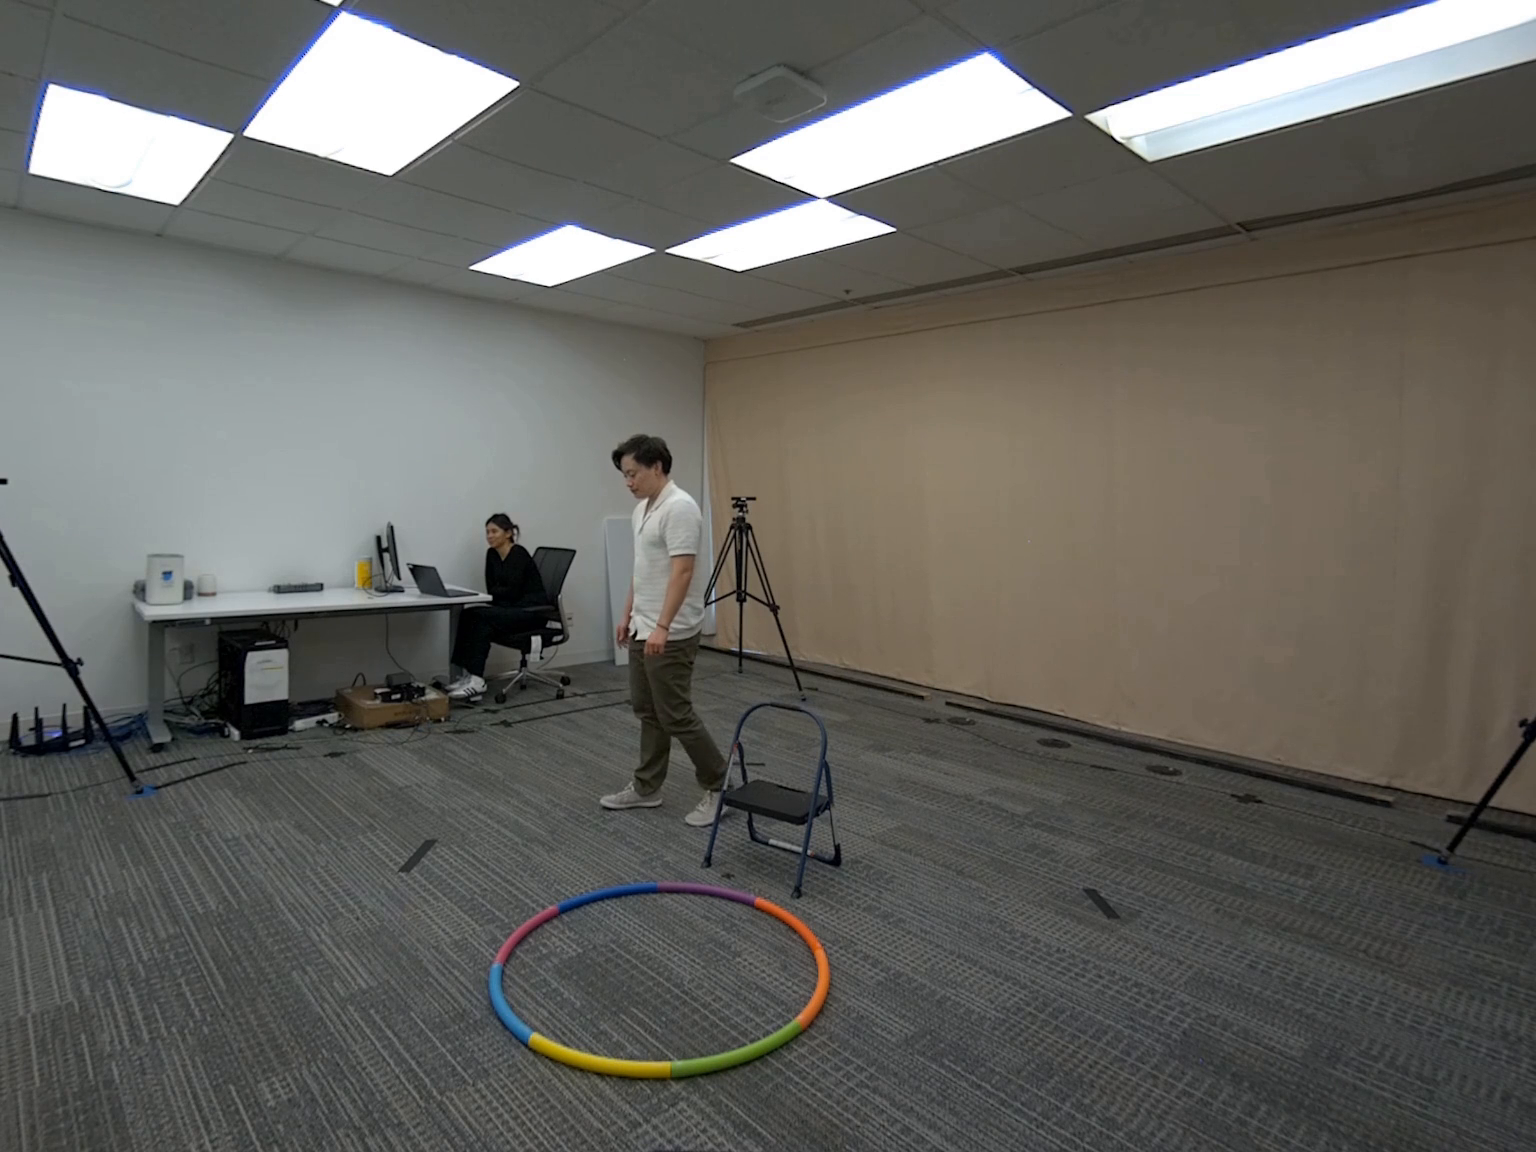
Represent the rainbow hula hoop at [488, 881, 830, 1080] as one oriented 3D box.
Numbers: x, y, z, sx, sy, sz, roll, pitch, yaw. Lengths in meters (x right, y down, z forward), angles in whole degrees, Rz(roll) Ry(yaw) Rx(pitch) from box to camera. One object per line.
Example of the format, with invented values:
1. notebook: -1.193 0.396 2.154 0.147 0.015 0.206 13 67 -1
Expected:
1. rainbow hula hoop: -0.319 1.130 2.490 0.978 0.035 0.982 1 5 -1
